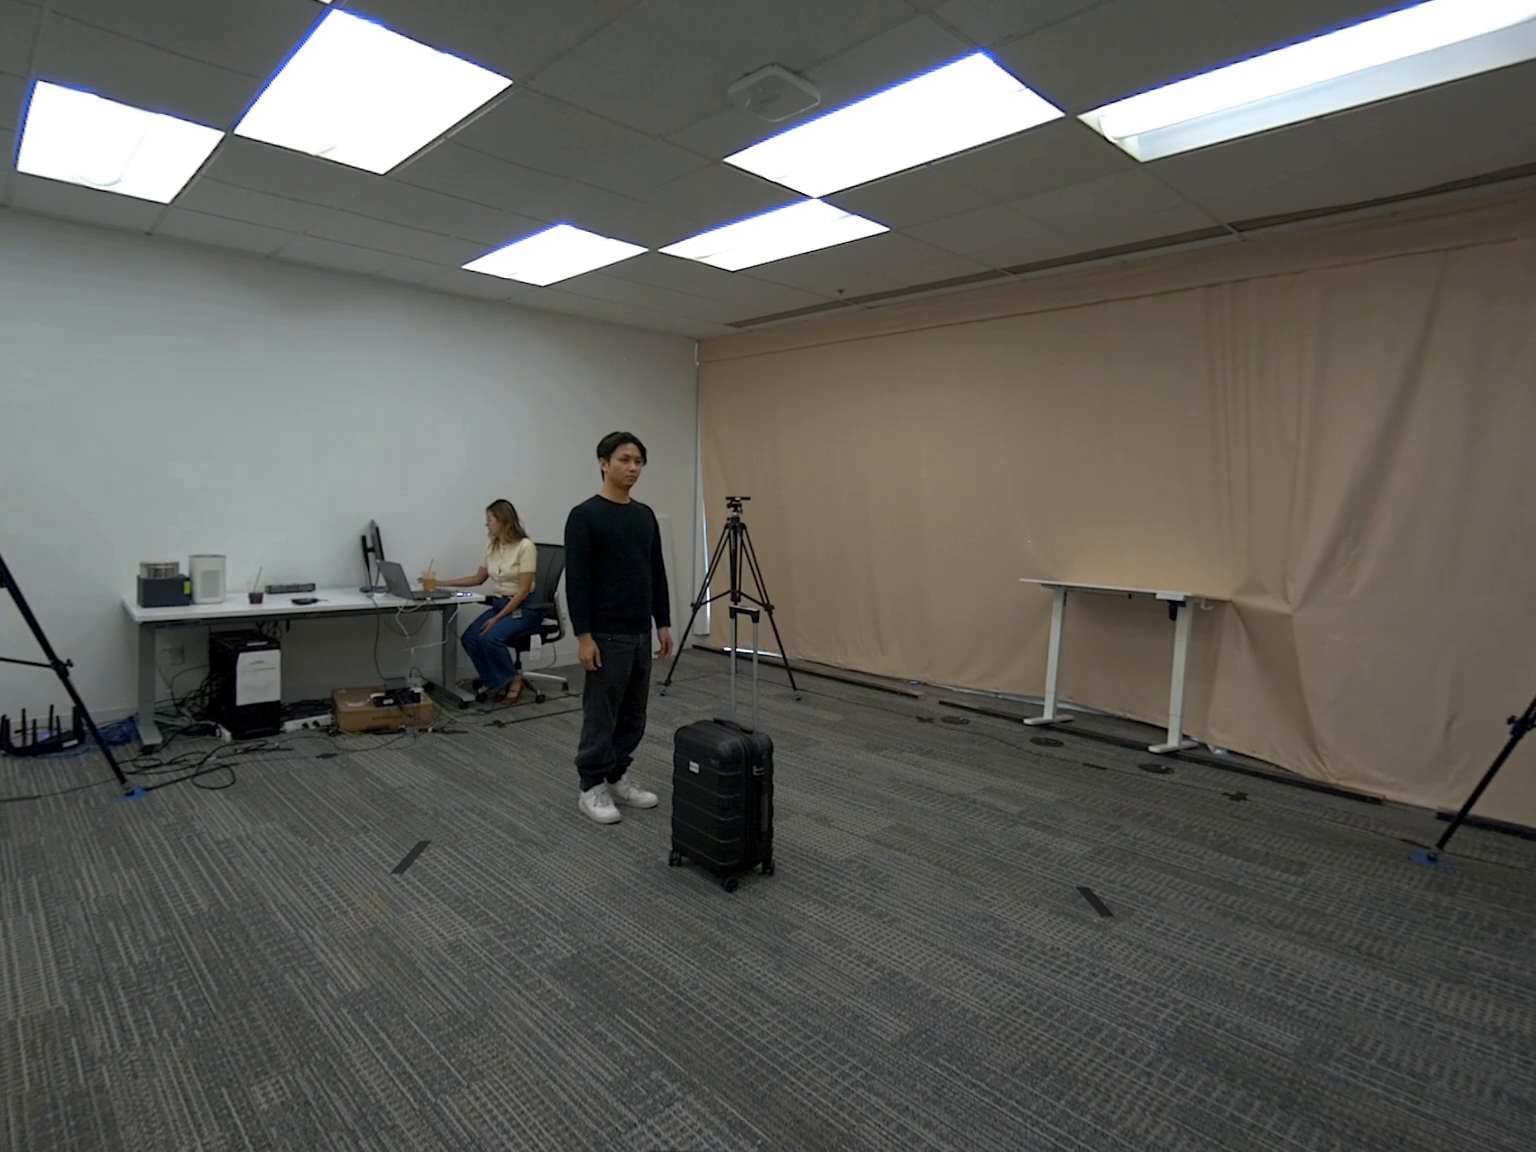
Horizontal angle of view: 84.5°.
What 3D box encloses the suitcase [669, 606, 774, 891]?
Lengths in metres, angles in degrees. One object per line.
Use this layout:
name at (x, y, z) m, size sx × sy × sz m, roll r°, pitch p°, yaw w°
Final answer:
suitcase at (-0.177, 0.625, 3.125) m, size 0.251 × 0.976 × 0.394 m, roll -4°, pitch 5°, yaw -42°
